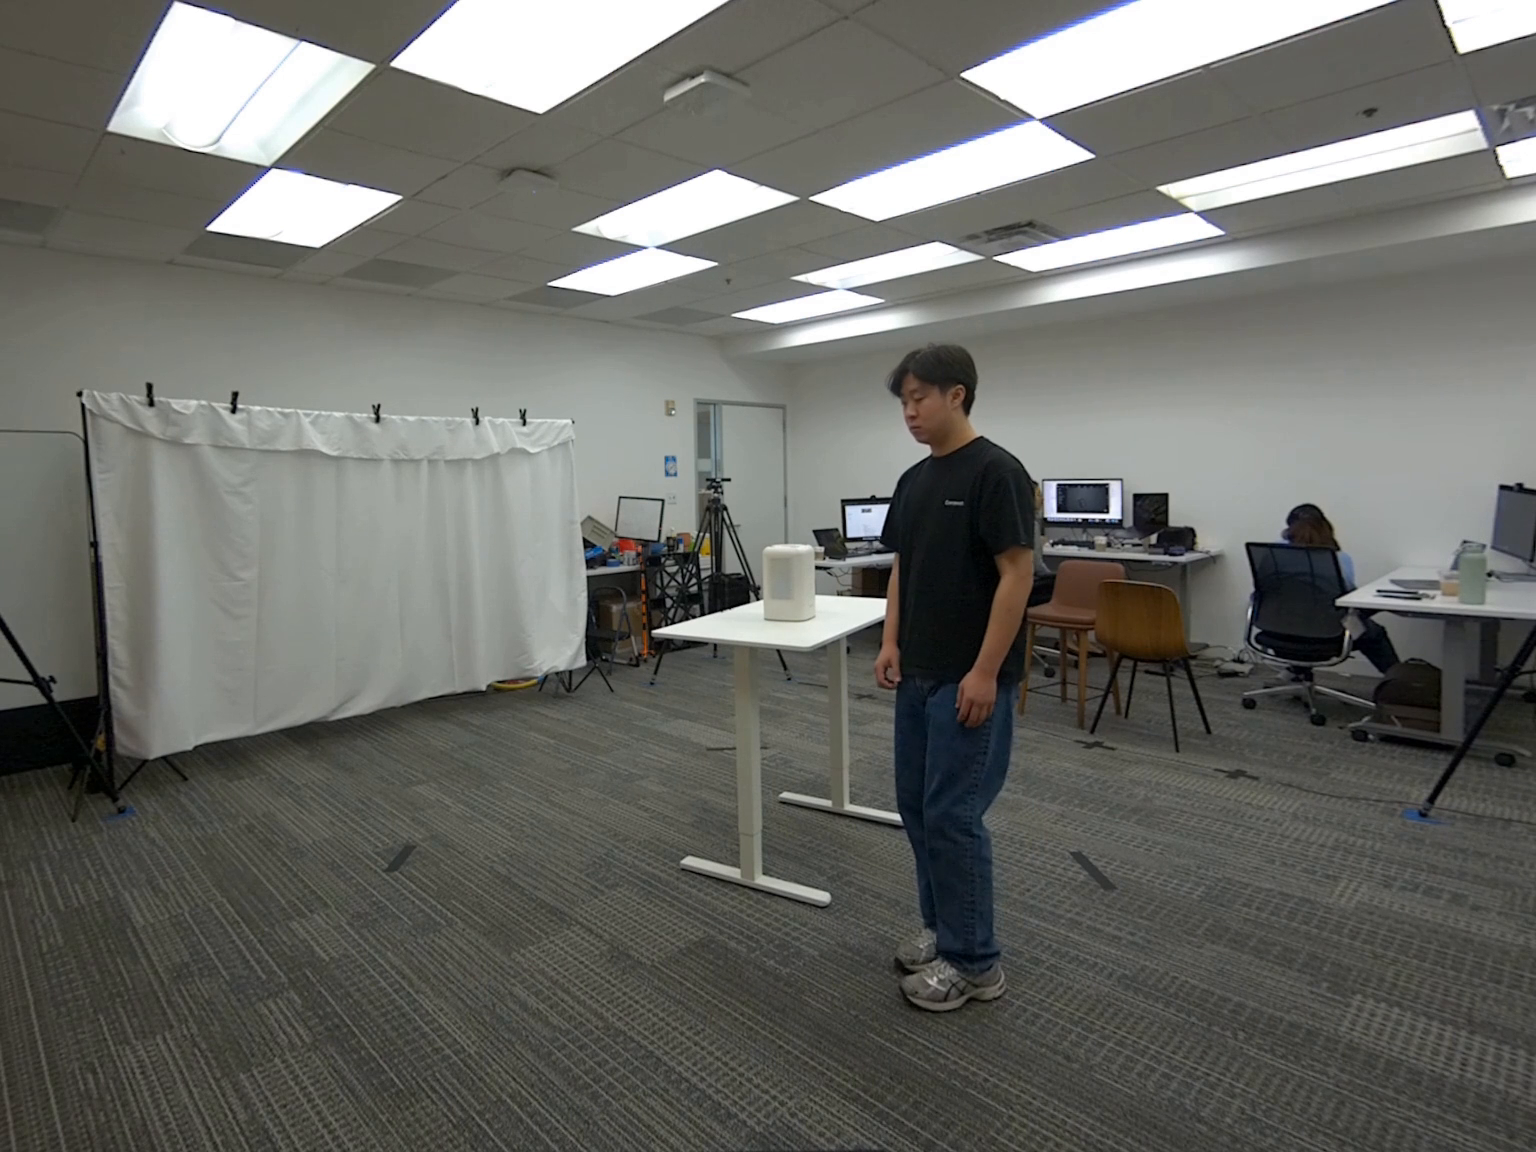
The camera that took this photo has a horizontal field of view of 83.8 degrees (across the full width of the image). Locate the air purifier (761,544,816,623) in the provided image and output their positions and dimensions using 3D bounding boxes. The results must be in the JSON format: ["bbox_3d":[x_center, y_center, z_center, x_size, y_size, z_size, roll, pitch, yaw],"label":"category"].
[{"bbox_3d":[0.082,0.024,3.124,0.175,0.264,0.168,0,5,24],"label":"air purifier"}]
